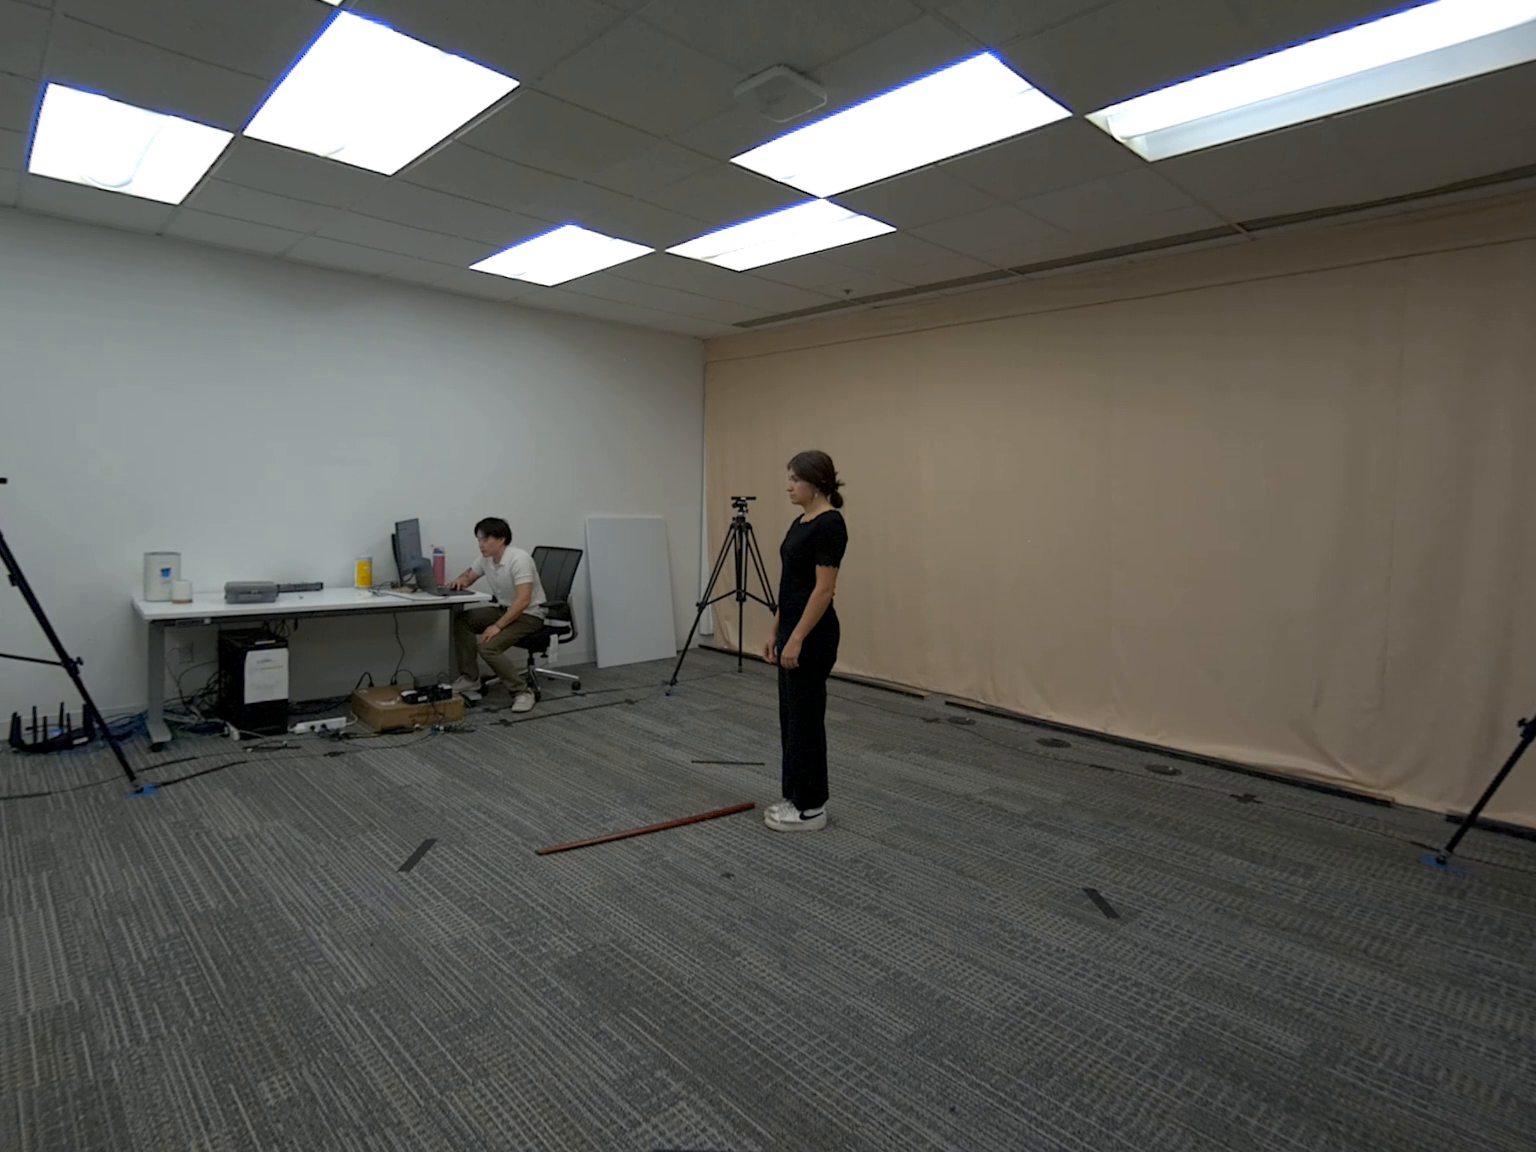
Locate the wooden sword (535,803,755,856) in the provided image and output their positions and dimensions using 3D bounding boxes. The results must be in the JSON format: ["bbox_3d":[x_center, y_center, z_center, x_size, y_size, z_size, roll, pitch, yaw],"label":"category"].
[{"bbox_3d":[-0.468,1.039,3.504,1.003,0.024,0.052,-2,-1,-33],"label":"wooden sword"}]
